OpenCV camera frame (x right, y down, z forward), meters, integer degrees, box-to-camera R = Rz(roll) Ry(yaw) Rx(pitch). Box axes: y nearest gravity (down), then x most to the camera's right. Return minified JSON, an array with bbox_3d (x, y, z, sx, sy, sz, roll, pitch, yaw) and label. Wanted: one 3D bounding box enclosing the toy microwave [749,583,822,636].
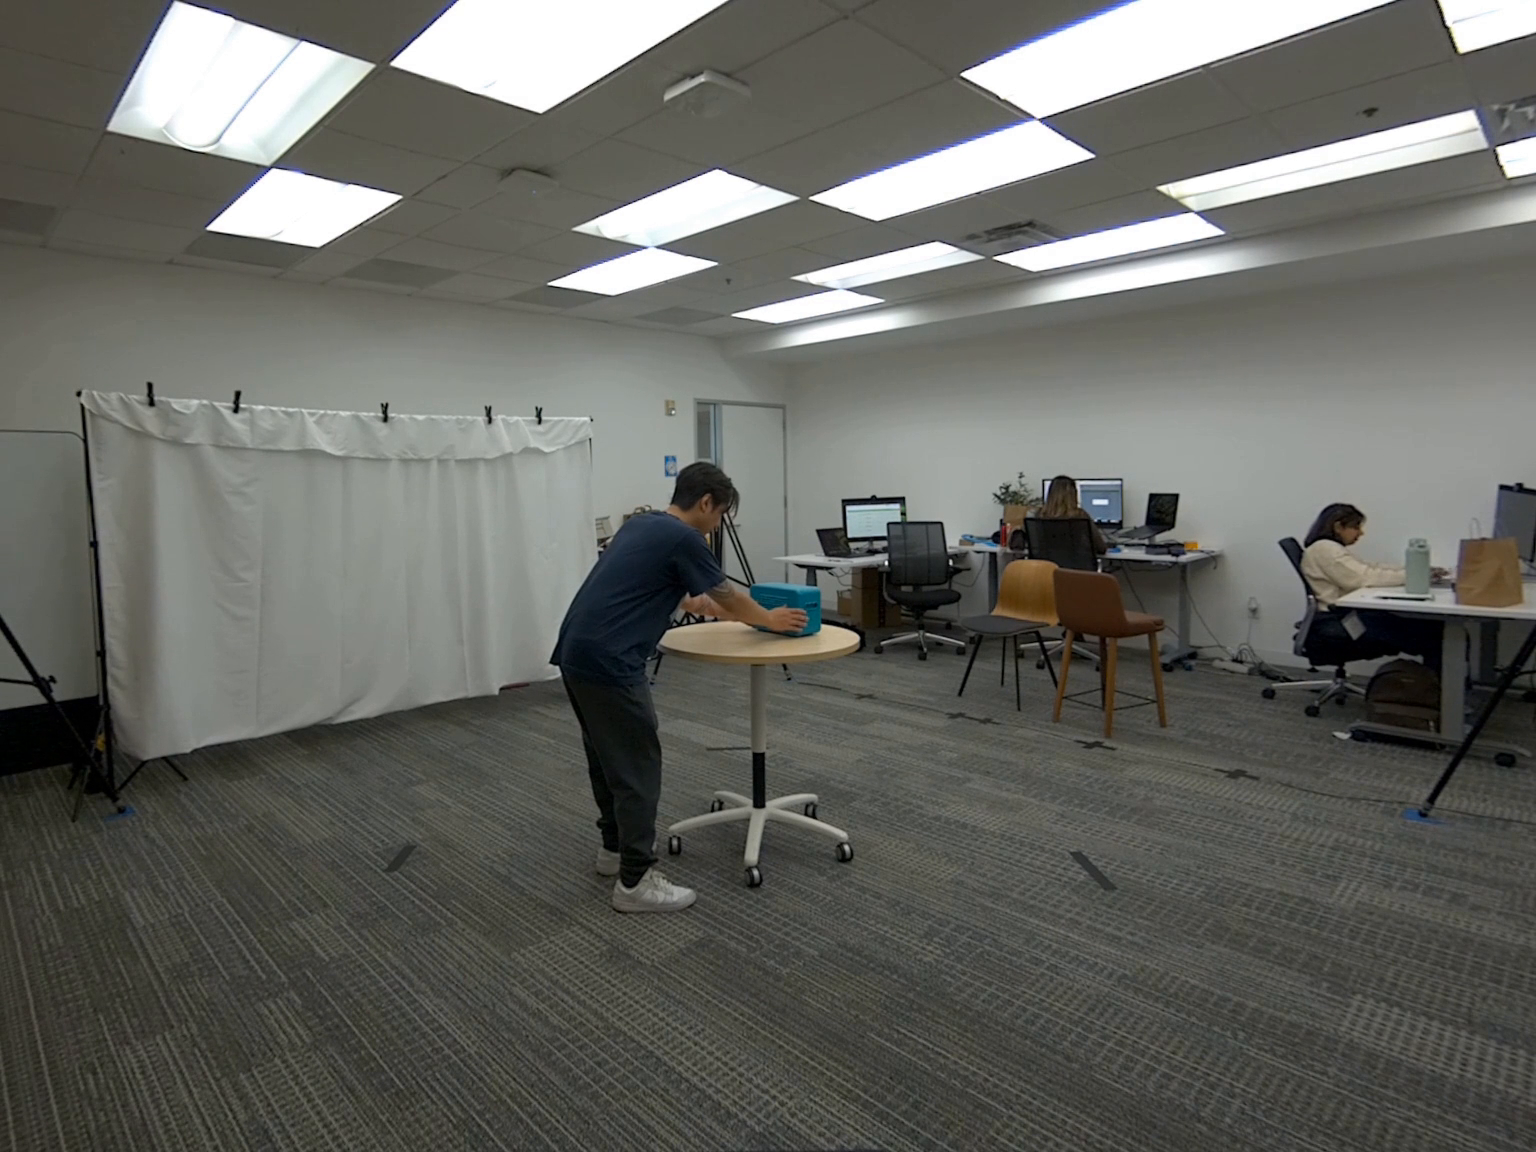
[{"bbox_3d":[0.074,0.126,3.320,0.148,0.183,0.295,-4,6,-40],"label":"toy microwave"}]
